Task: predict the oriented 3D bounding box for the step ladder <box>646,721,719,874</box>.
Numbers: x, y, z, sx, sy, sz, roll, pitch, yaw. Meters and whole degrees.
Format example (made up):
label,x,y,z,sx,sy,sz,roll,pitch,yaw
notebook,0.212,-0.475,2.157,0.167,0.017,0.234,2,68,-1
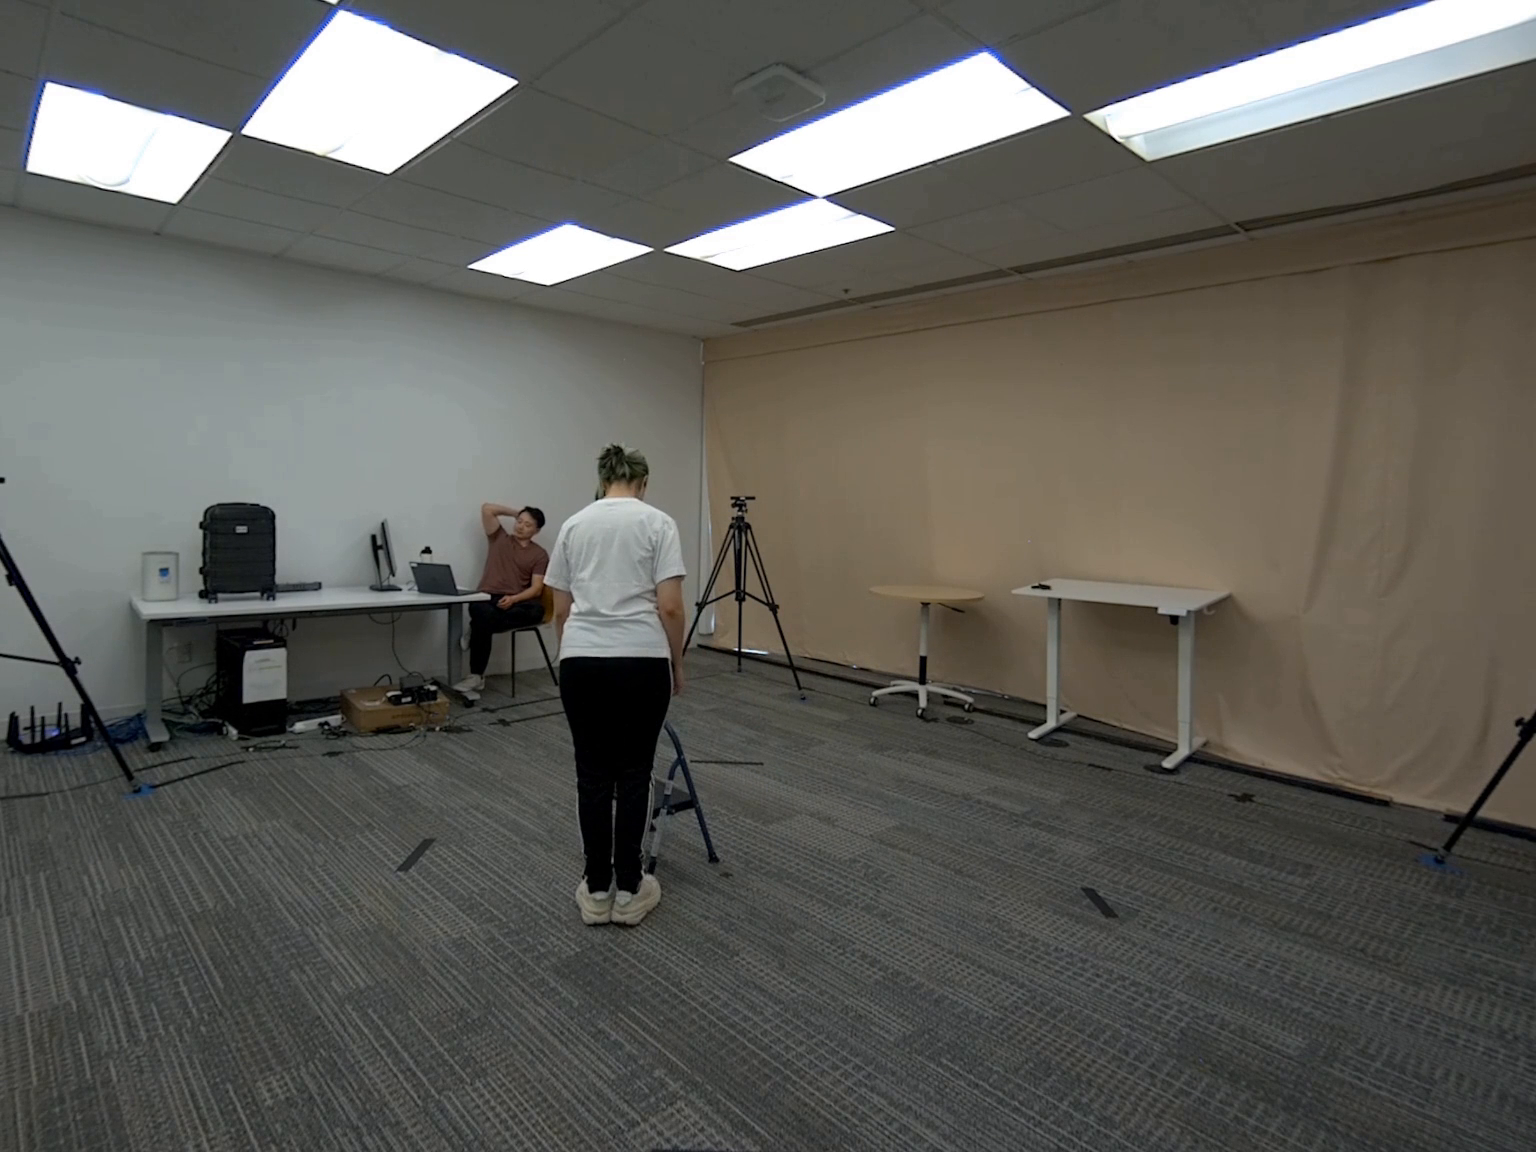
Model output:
label,x,y,z,sx,sy,sz,roll,pitch,yaw
step ladder,-0.449,0.783,3.246,0.341,0.604,0.442,-2,5,-43
